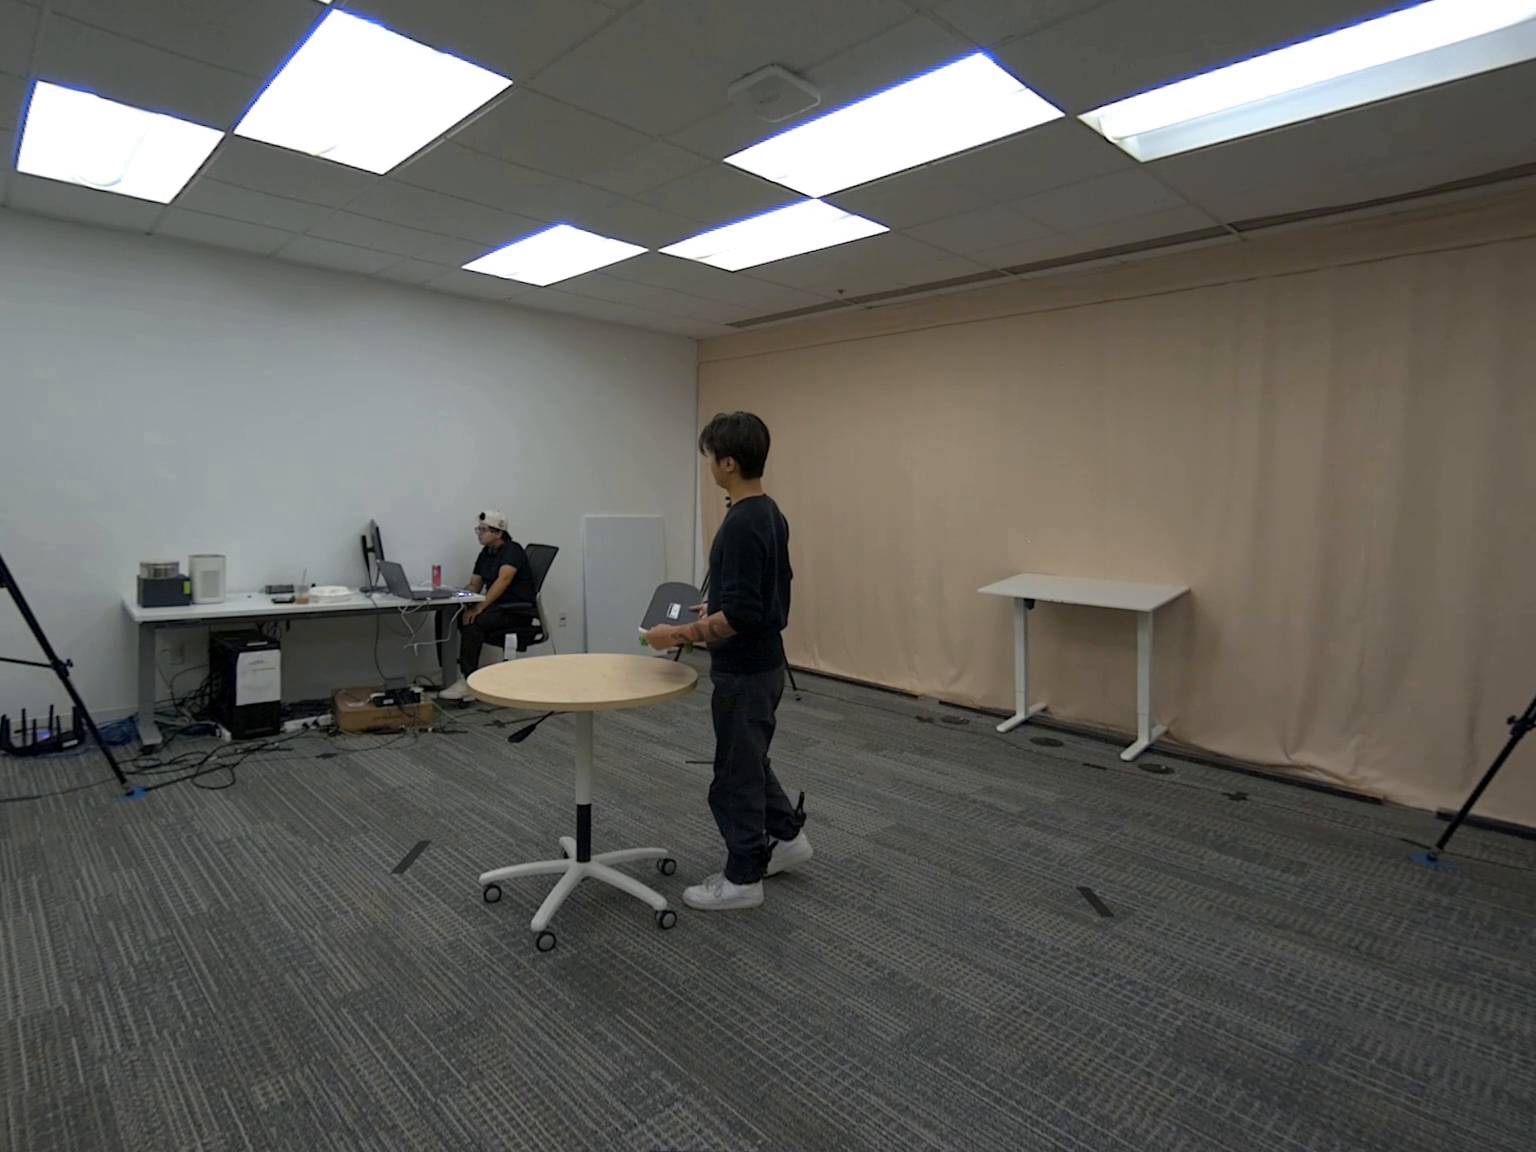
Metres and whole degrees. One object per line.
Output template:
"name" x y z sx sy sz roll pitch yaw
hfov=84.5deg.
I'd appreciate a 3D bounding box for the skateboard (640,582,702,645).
"skateboard" -0.364 0.169 3.112 0.193 0.109 0.792 10 12 -4
